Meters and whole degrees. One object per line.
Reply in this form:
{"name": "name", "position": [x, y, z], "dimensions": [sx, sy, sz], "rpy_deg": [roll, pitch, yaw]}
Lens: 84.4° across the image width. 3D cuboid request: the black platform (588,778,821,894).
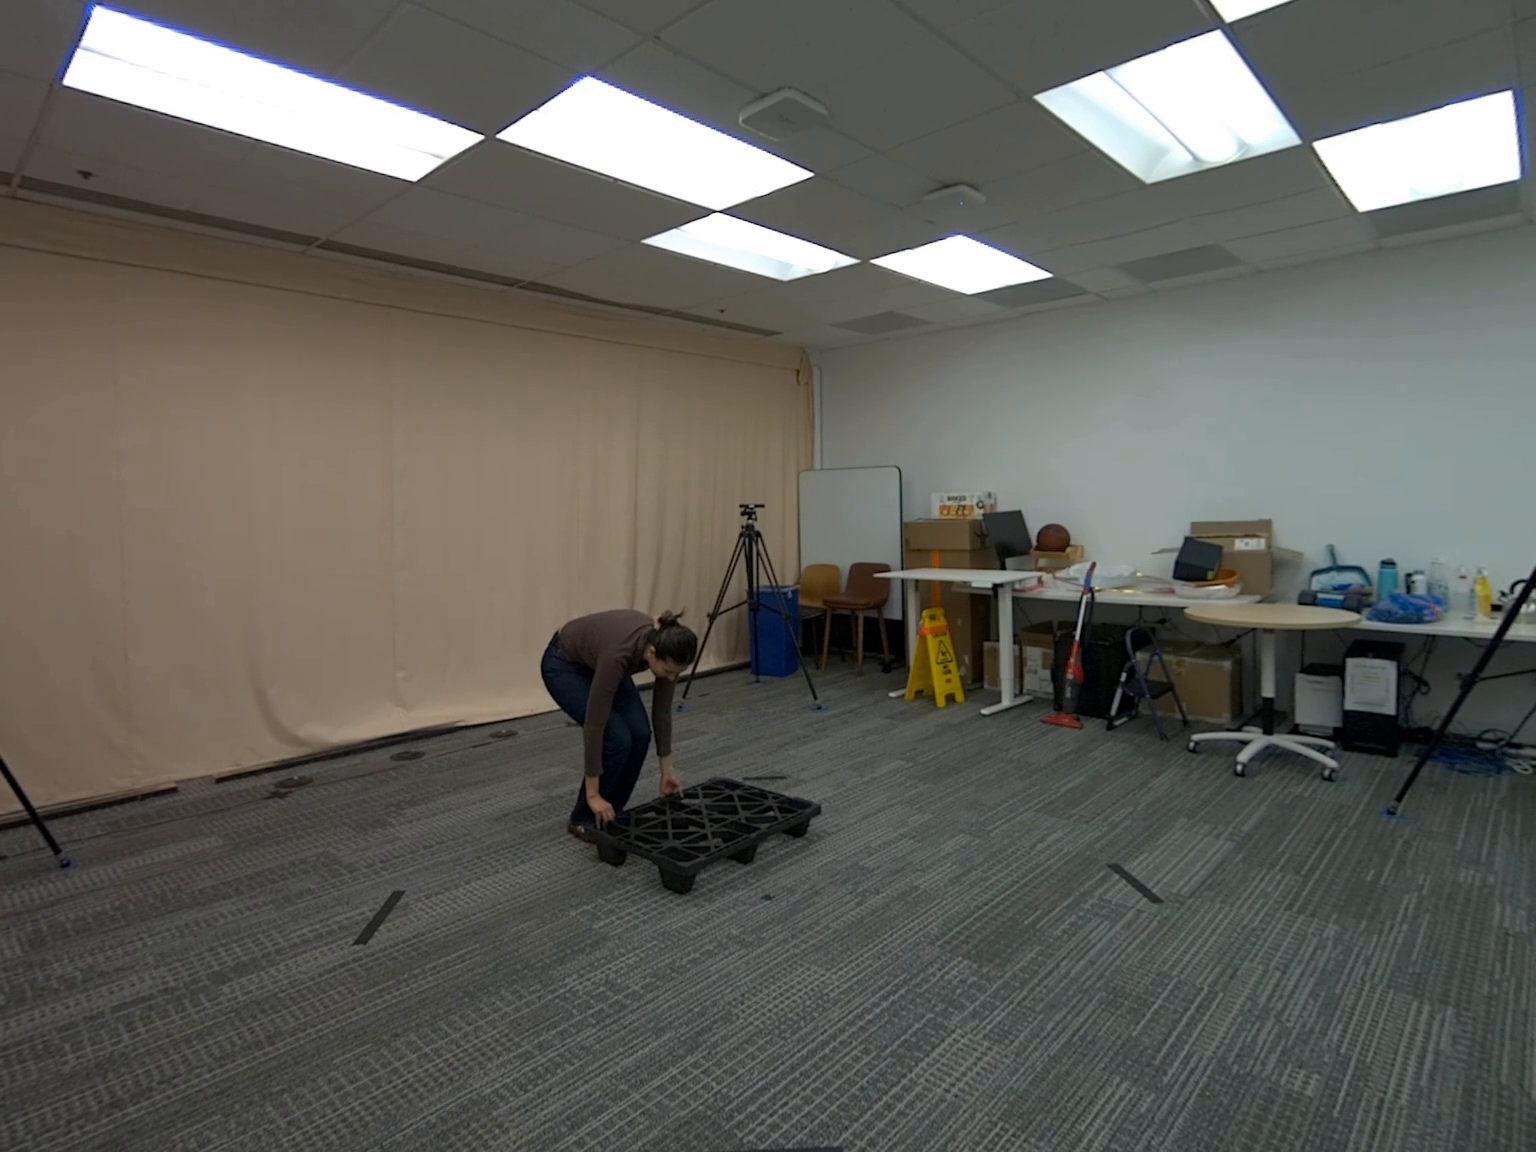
{"name": "black platform", "position": [-0.244, 1.038, 3.426], "dimensions": [0.625, 0.143, 0.782], "rpy_deg": [4, 8, 41]}
